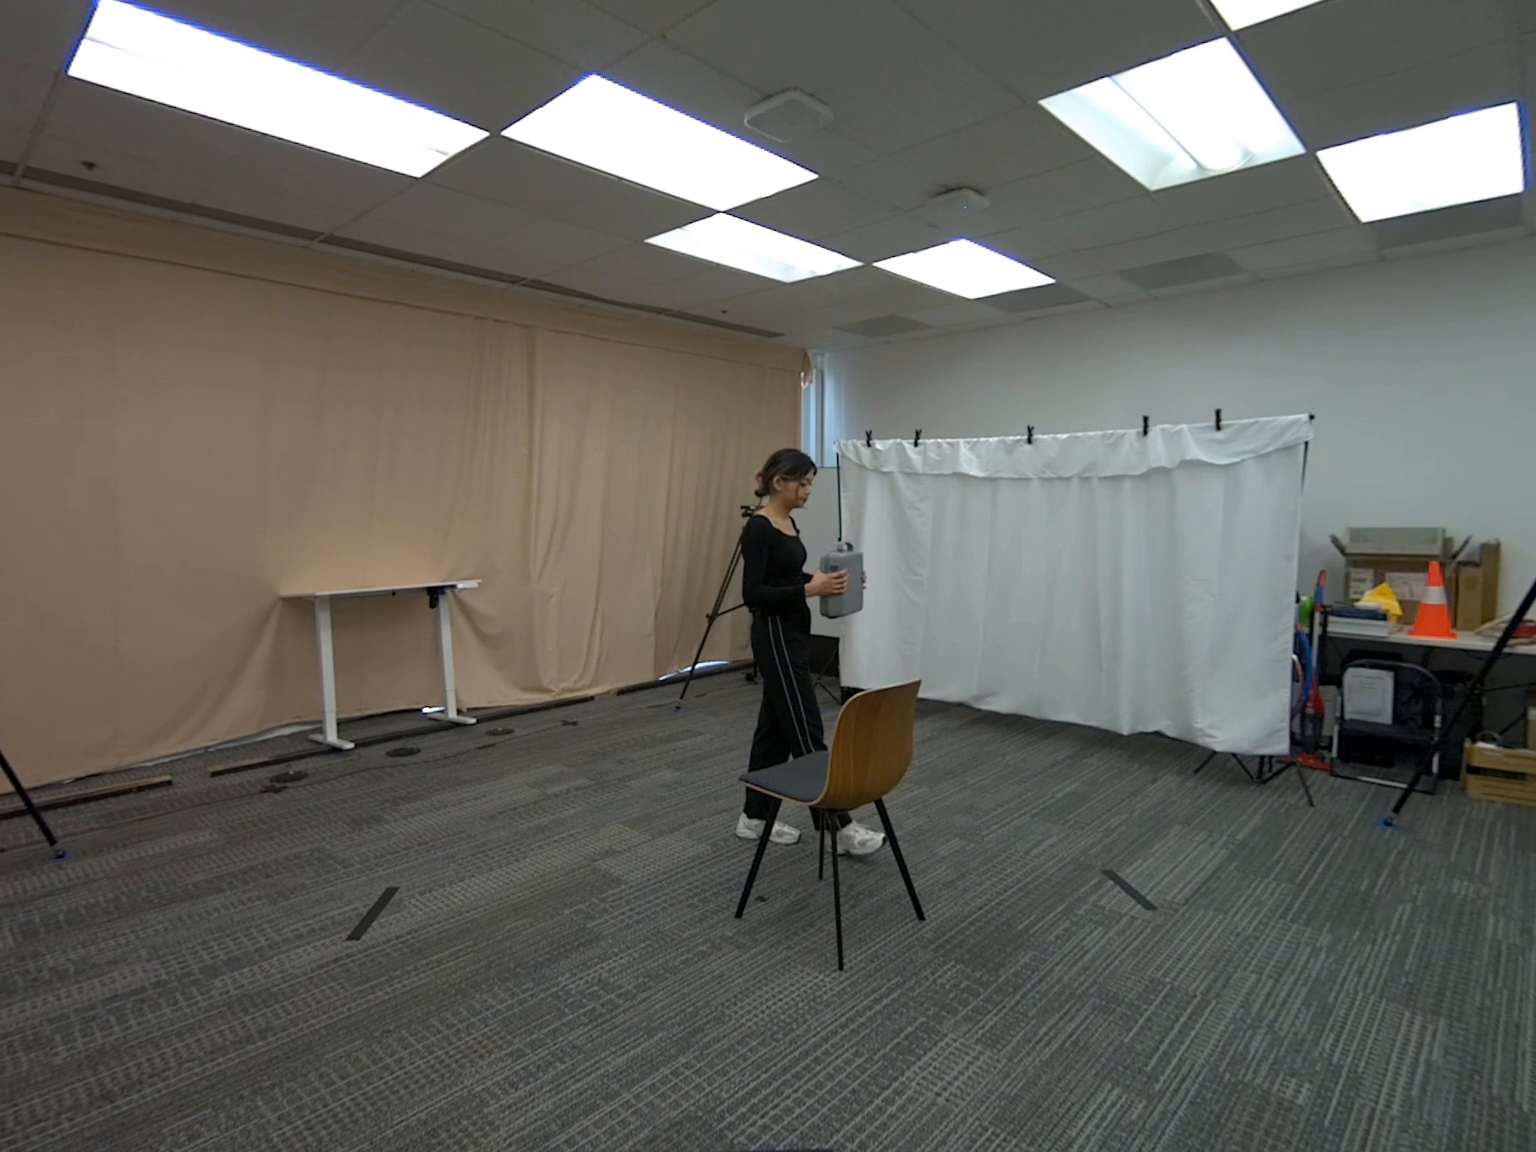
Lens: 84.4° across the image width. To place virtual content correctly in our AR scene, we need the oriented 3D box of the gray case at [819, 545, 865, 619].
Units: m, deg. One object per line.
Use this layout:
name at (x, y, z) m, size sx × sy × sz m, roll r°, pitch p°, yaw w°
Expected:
gray case at (0.300, 0.026, 3.343) m, size 0.107 × 0.260 × 0.250 m, roll 4°, pitch 6°, yaw 27°
